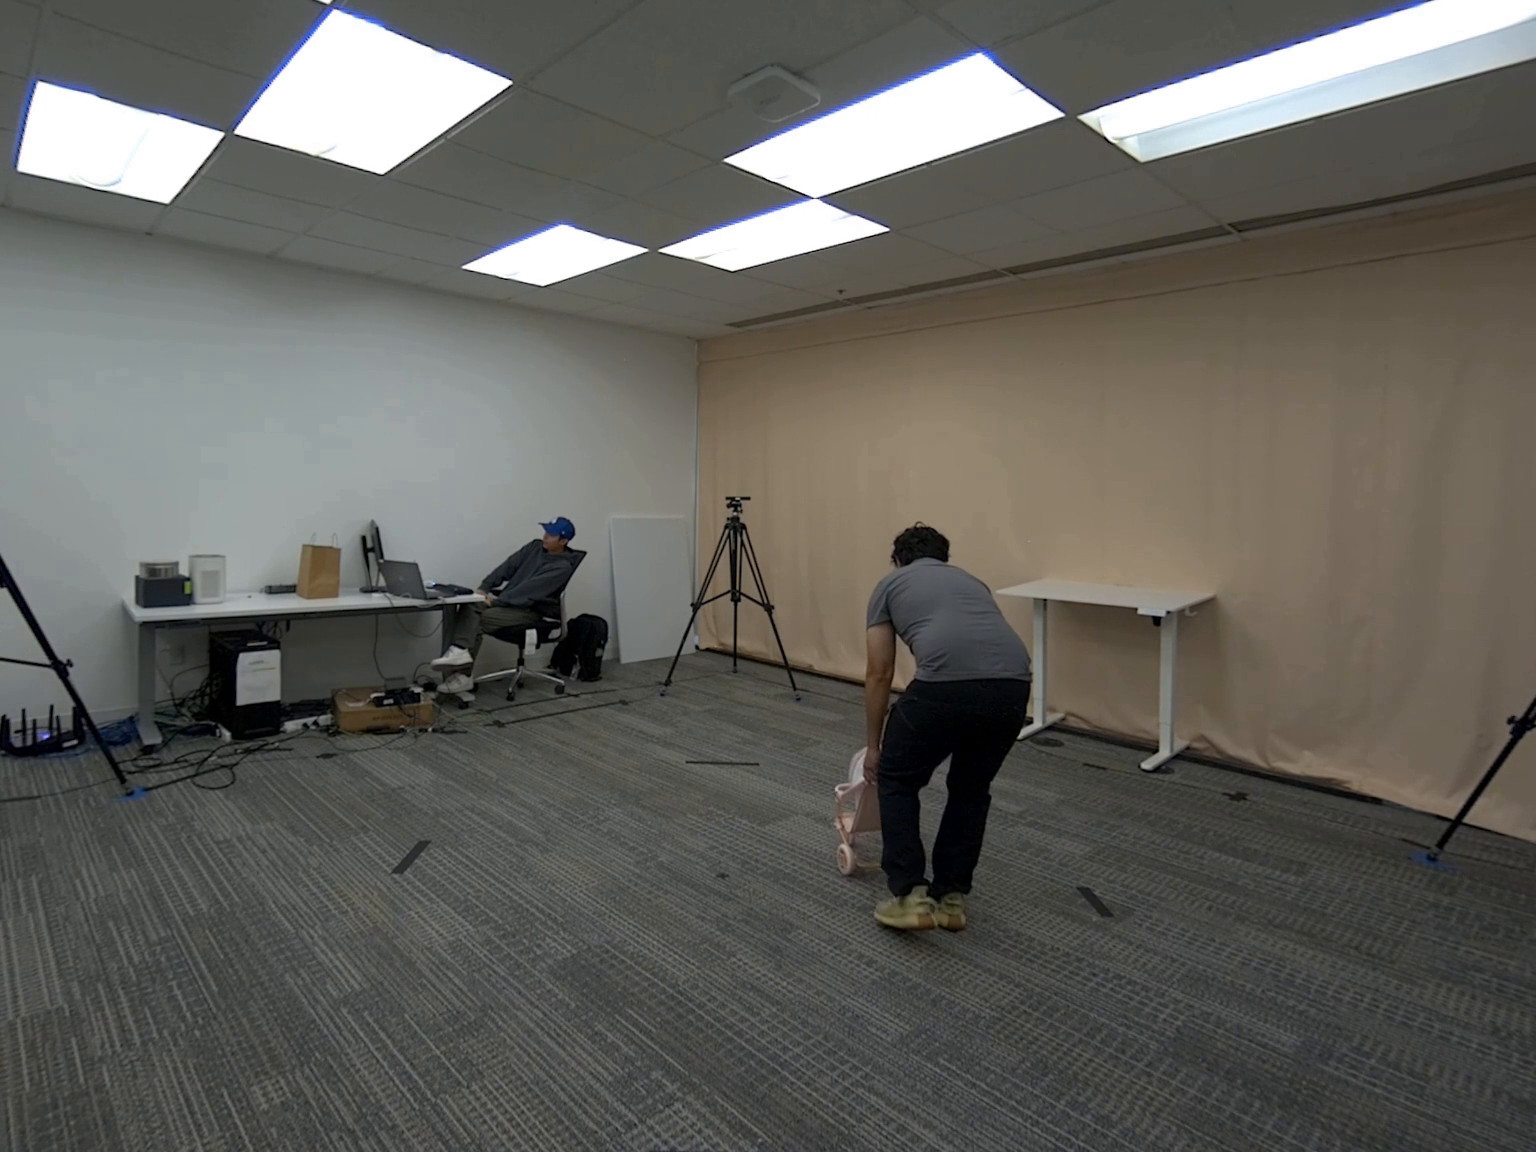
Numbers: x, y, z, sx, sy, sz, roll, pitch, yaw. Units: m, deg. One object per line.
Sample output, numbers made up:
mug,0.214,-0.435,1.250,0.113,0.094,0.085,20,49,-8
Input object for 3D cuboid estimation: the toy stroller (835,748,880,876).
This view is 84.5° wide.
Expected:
toy stroller,0.386,0.881,3.226,0.278,0.529,0.349,2,19,-13
